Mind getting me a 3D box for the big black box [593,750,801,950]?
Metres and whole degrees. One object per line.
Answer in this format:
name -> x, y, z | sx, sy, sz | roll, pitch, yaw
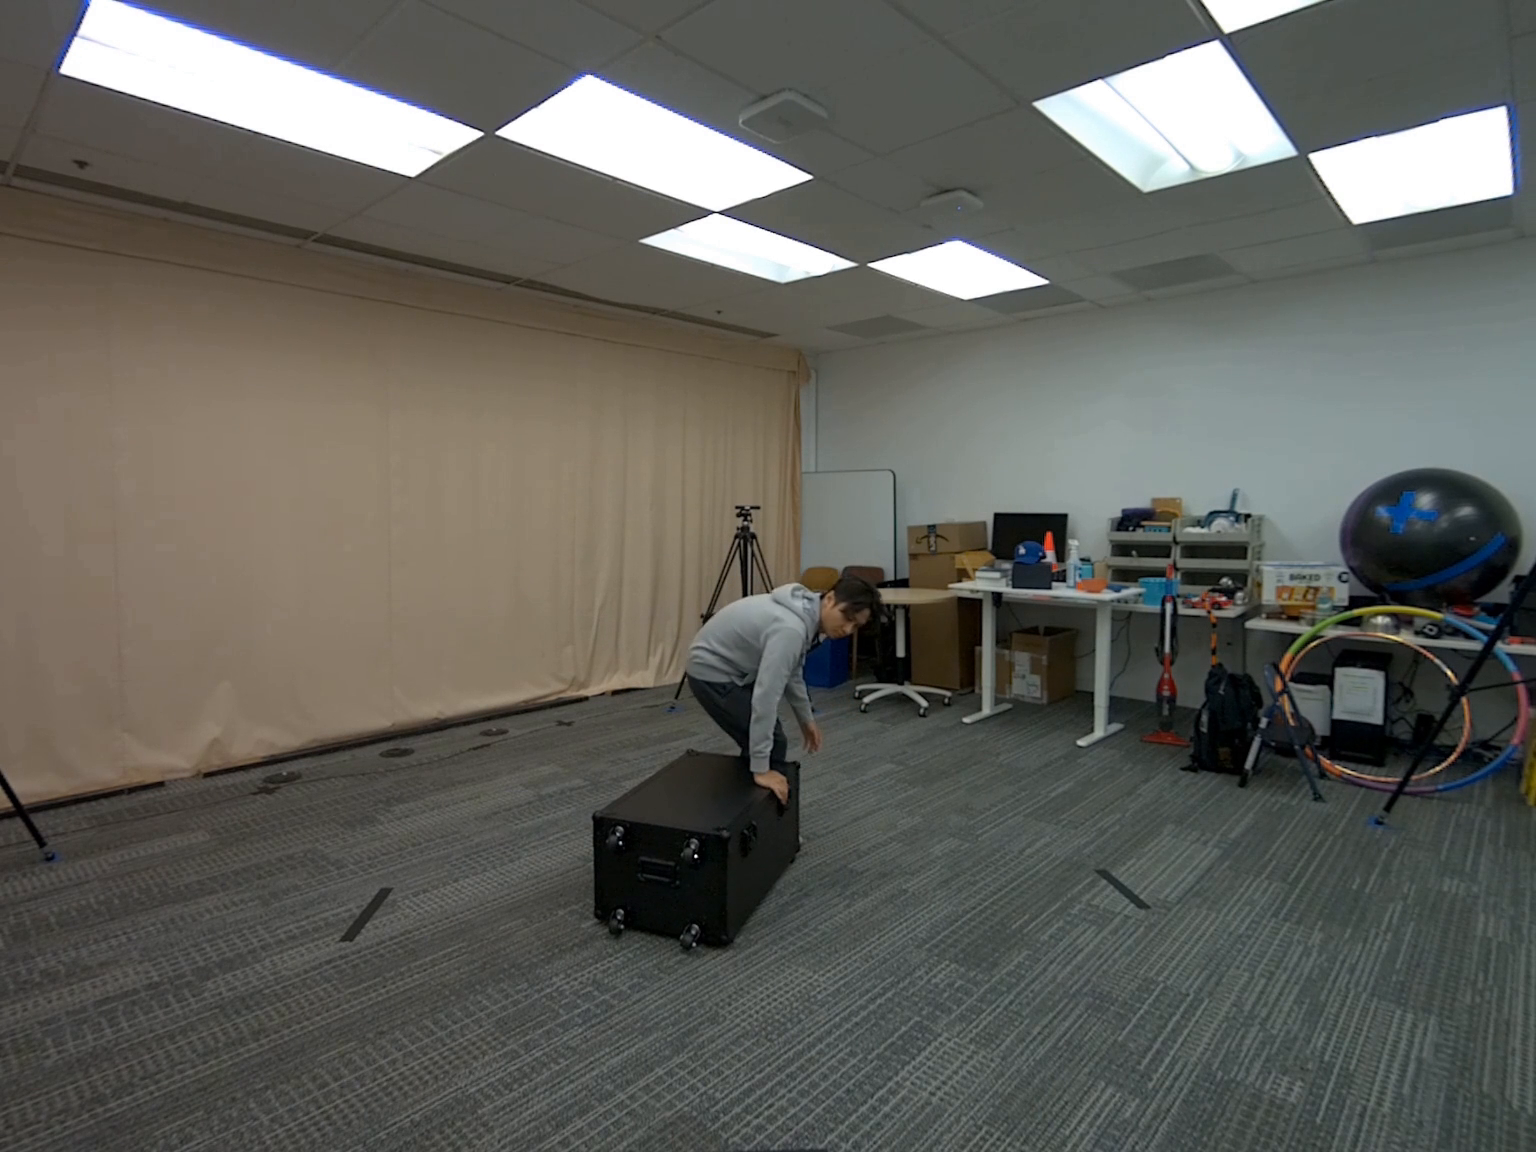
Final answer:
big black box -> -0.213, 0.946, 3.088 | 0.533, 0.395, 0.845 | 1, 6, 20
